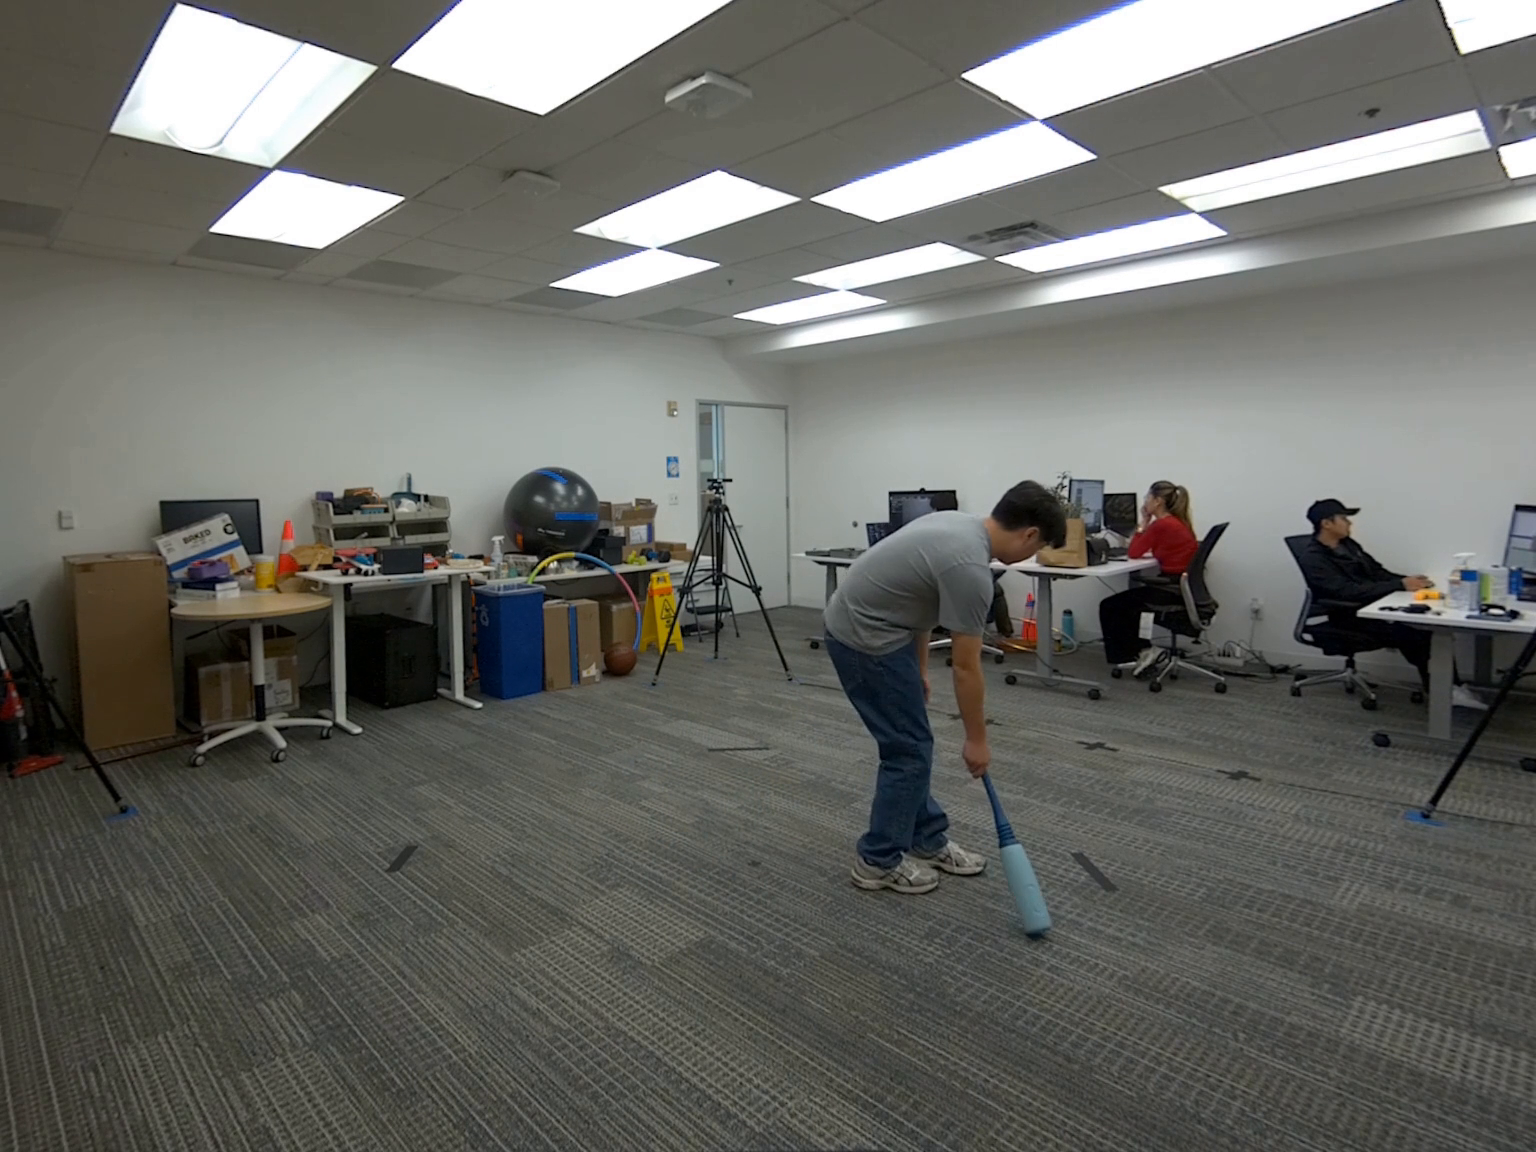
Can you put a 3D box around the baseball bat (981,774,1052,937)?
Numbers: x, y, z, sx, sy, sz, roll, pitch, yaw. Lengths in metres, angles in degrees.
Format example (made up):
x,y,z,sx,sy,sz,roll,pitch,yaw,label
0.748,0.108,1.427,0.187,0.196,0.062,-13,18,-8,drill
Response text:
x,y,z,sx,sy,sz,roll,pitch,yaw,label
0.756,0.846,2.709,0.088,0.559,0.087,-9,-31,-7,baseball bat
